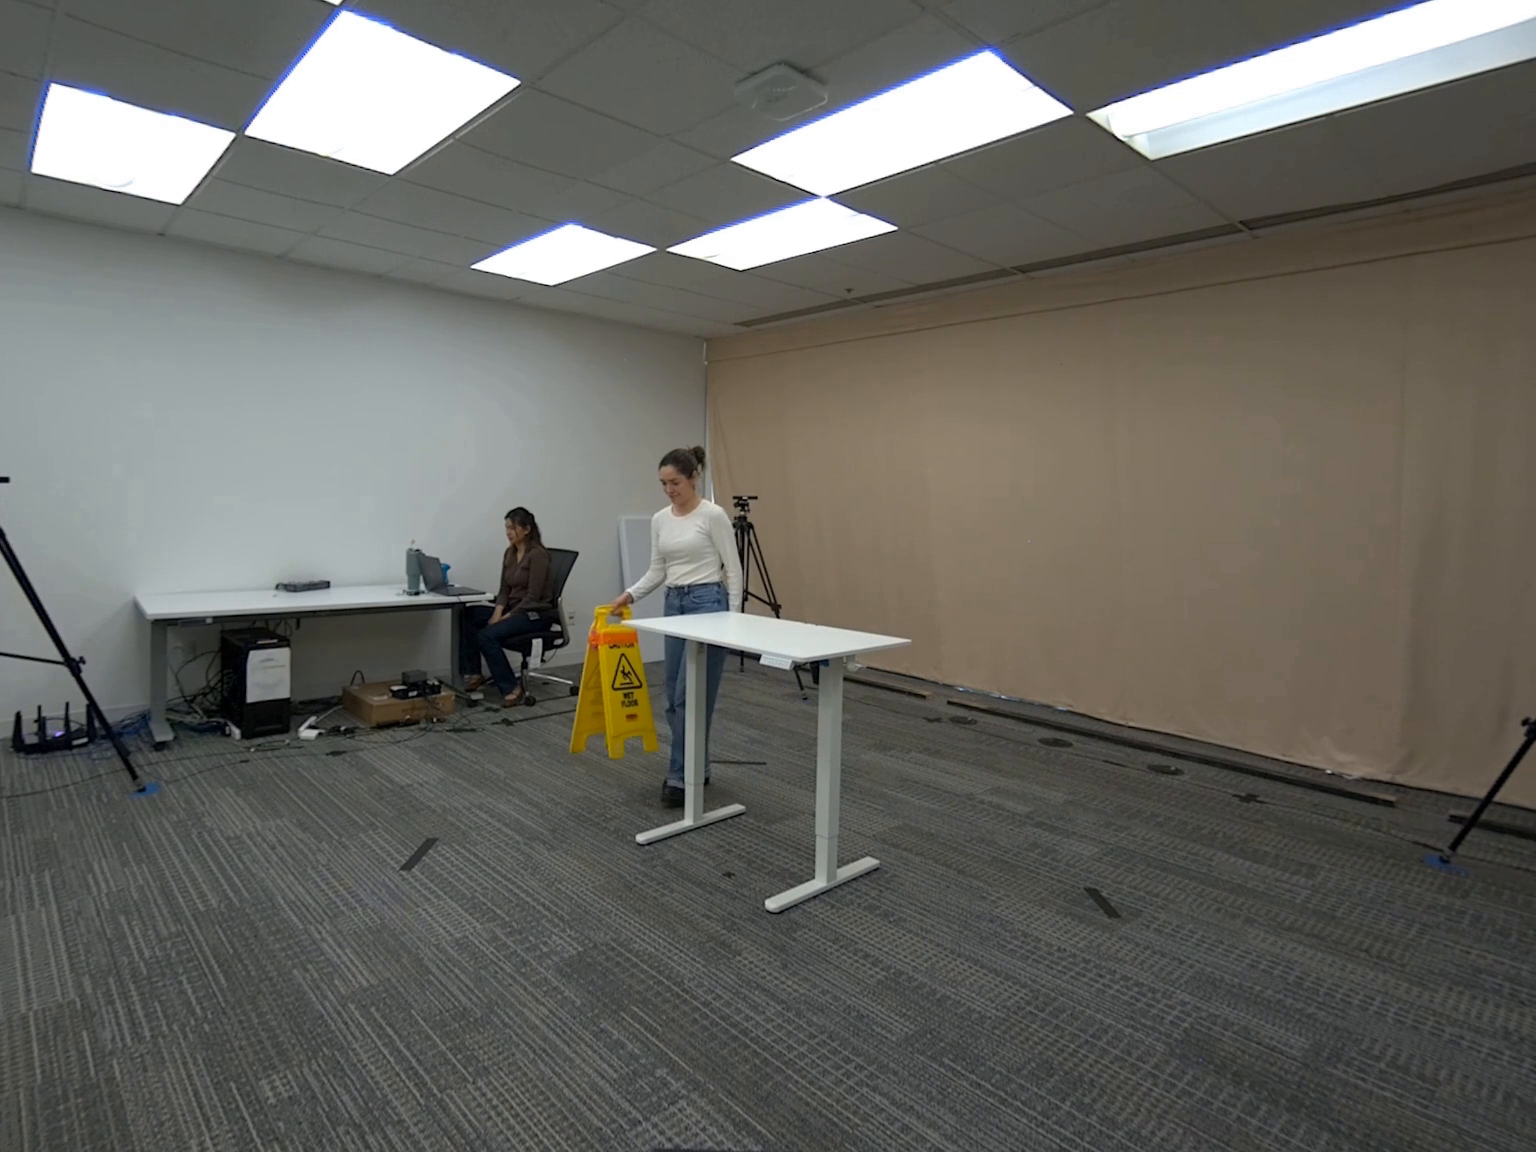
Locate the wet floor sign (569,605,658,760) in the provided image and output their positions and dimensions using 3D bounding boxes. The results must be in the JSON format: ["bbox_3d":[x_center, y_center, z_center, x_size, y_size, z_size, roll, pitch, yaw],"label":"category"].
[{"bbox_3d":[-0.705,0.459,3.749,0.296,0.649,0.275,-4,-7,37],"label":"wet floor sign"}]
